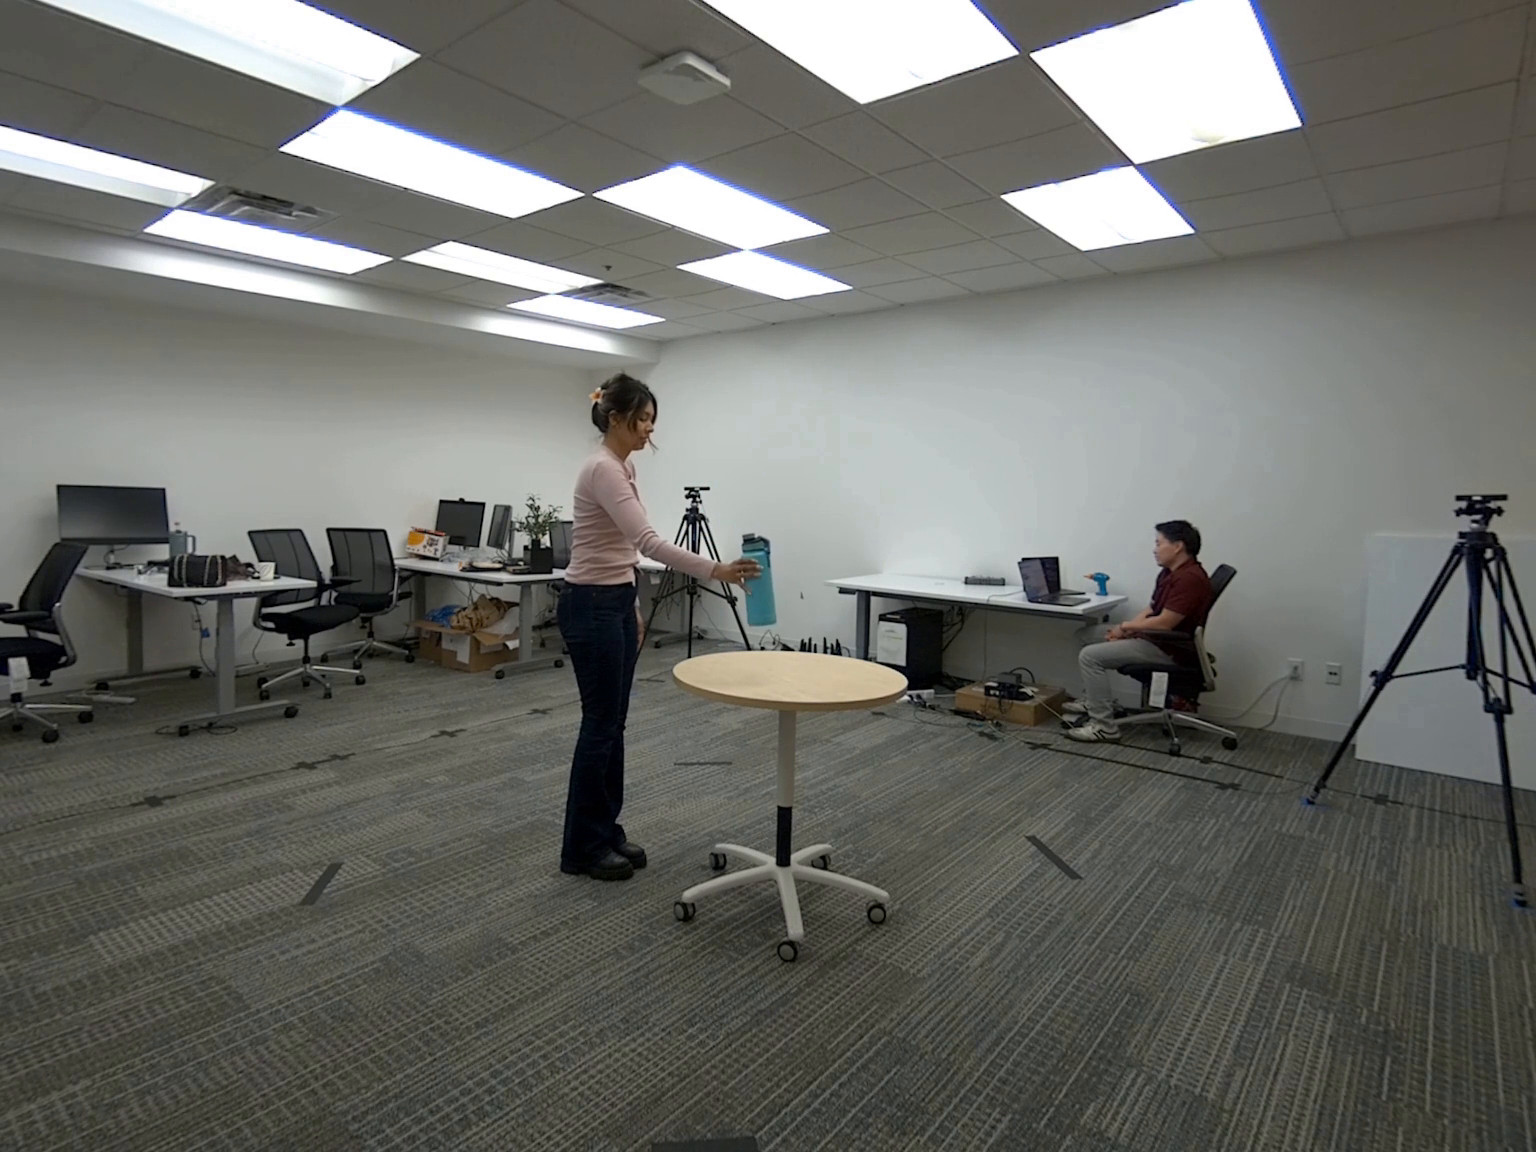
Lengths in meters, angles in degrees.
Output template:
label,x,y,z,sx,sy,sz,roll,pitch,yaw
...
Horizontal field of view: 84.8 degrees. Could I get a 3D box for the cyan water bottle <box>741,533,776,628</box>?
label,x,y,z,sx,sy,sz,roll,pitch,yaw
cyan water bottle,-0.045,0.007,2.633,0.092,0.283,0.092,-4,0,-2
